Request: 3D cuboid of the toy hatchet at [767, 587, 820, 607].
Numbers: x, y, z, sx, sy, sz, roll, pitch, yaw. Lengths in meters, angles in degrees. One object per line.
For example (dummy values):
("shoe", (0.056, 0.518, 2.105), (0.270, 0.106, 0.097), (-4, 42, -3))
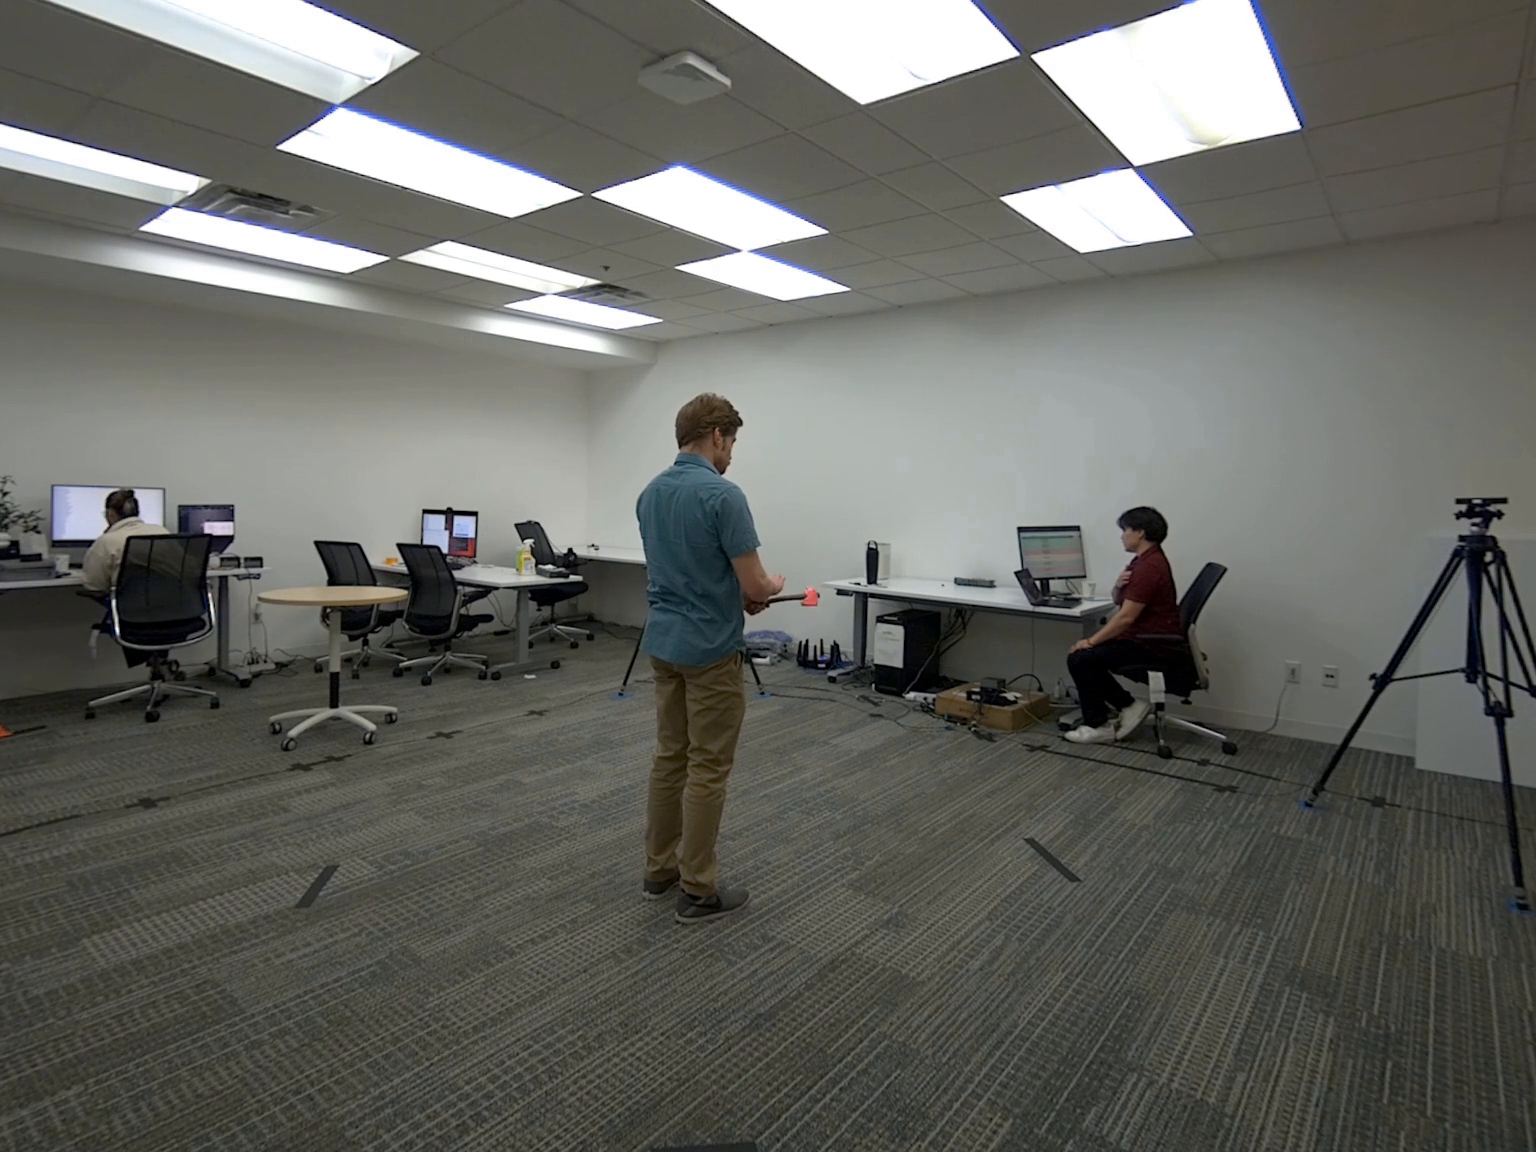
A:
("toy hatchet", (0.052, 0.087, 3.076), (0.266, 0.029, 0.136), (-13, 27, -21))
